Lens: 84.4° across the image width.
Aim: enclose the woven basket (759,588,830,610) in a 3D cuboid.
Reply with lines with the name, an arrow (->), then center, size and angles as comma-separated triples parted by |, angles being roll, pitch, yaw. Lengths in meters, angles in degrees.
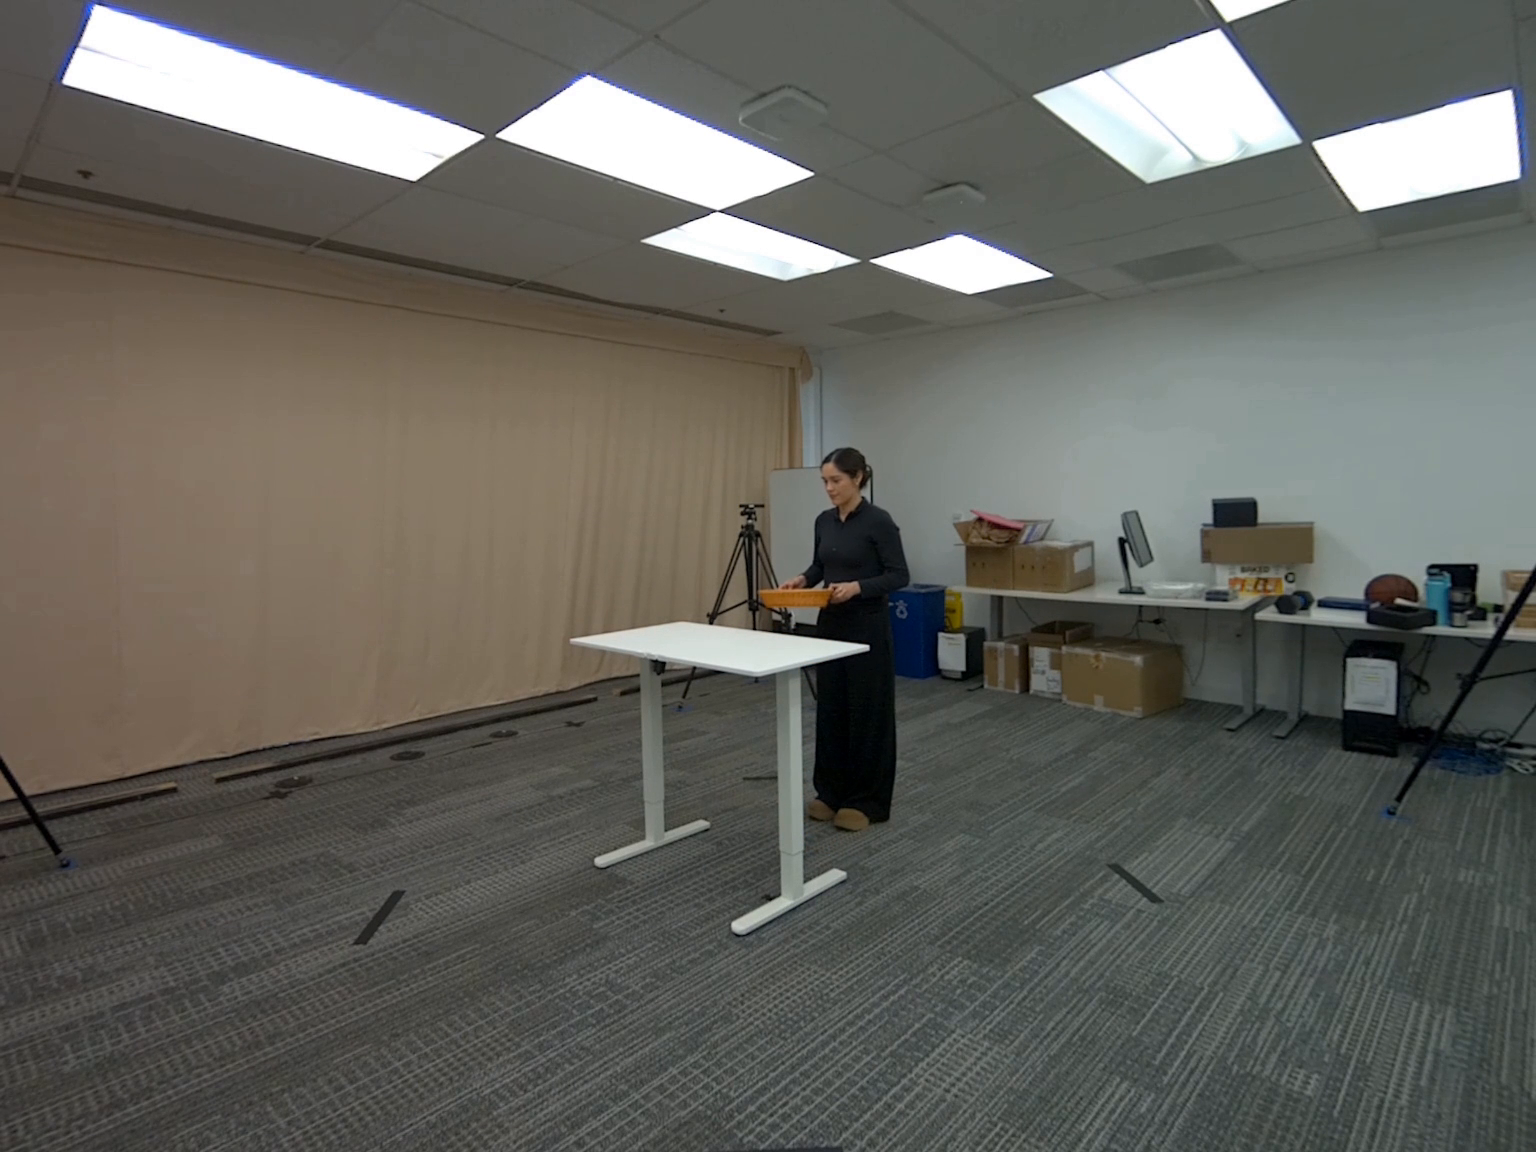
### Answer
woven basket -> 0.129, 0.095, 3.494 | 0.361, 0.073, 0.244 | -3, -1, 45
